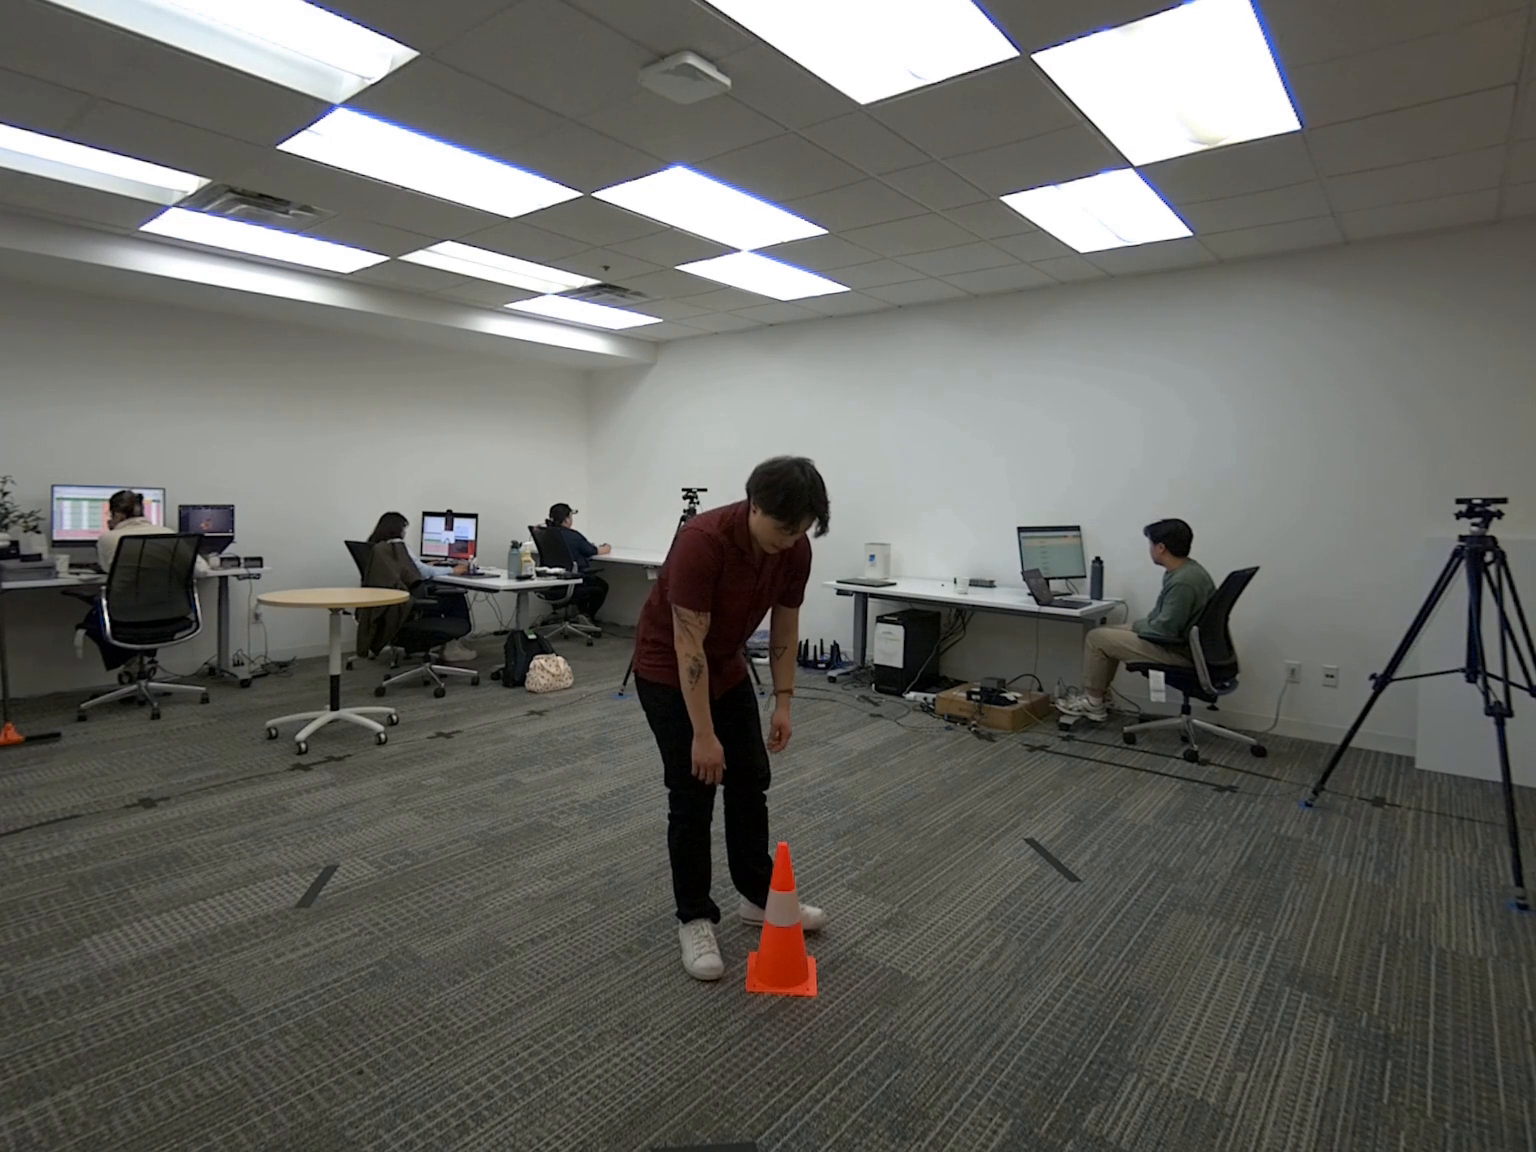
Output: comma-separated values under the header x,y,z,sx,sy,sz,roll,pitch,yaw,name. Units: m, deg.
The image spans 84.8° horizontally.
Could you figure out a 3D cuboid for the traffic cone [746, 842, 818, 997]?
x,y,z,sx,sy,sz,roll,pitch,yaw,name
0.044,0.952,2.437,0.207,0.383,0.201,3,2,10,traffic cone
